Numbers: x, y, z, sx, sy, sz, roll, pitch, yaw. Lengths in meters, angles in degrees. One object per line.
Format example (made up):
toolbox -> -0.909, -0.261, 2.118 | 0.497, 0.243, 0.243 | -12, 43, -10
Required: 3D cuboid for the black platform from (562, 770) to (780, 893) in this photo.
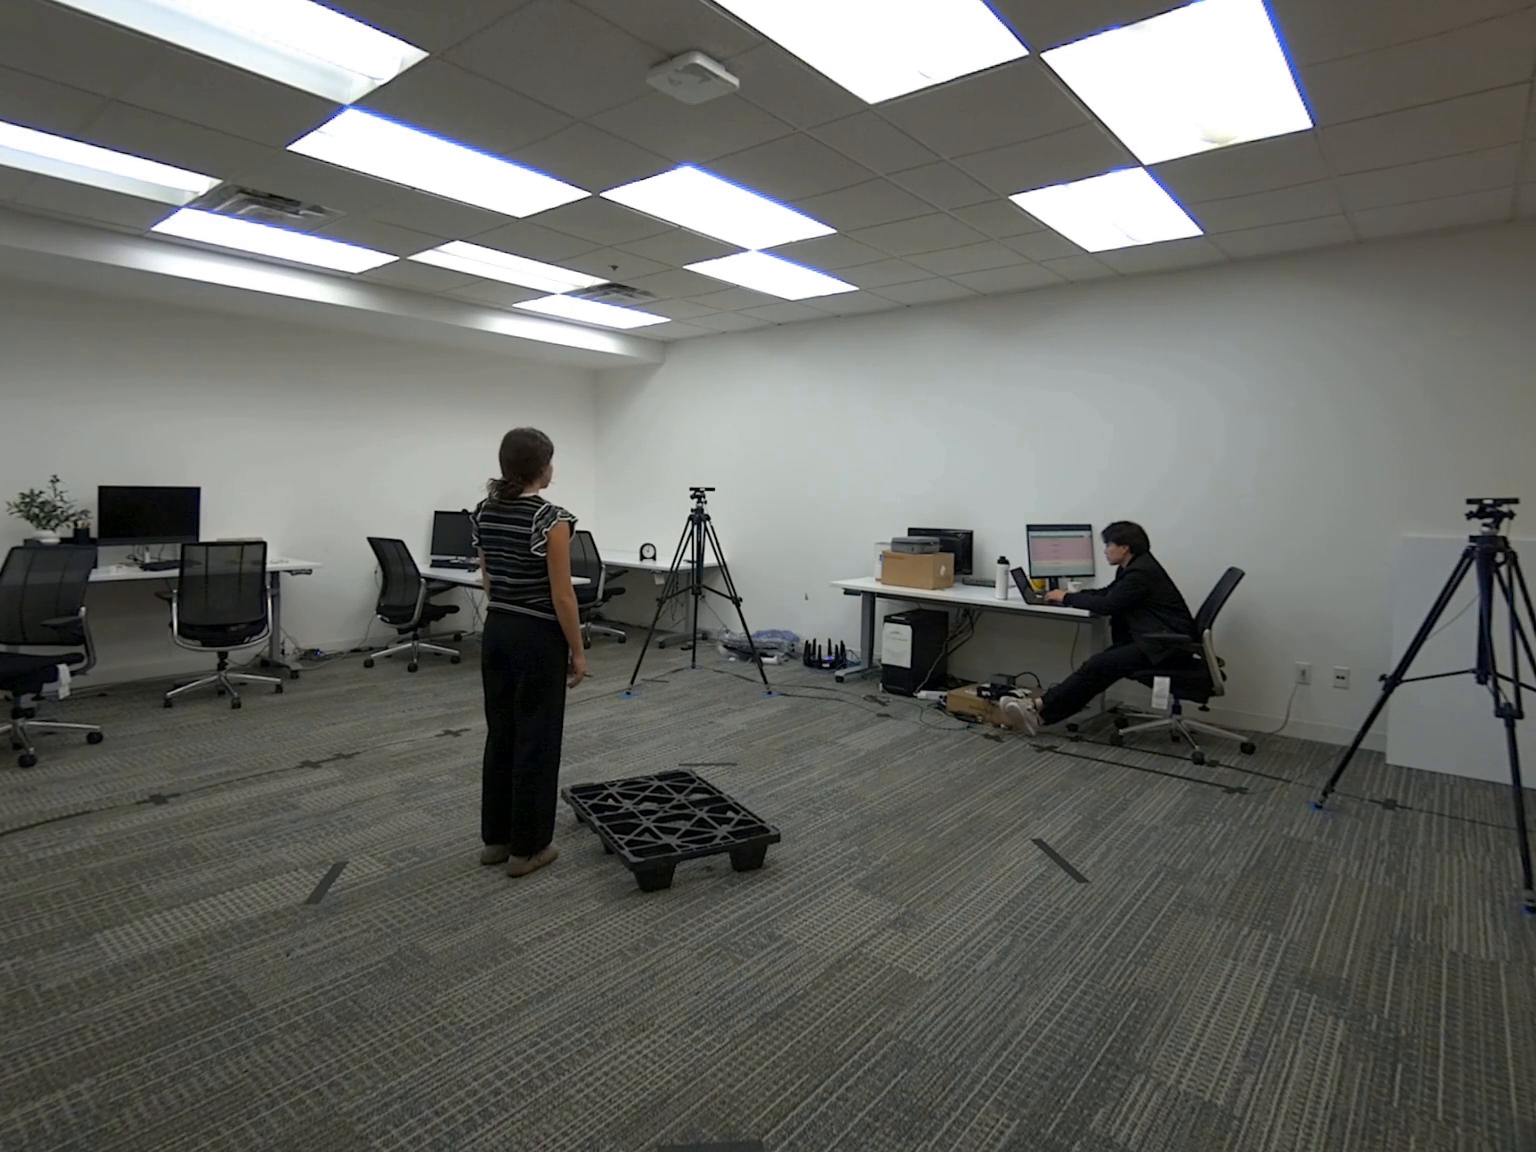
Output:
black platform -> -0.418, 0.973, 3.340 | 0.589, 0.143, 0.830 | -2, 6, -29
